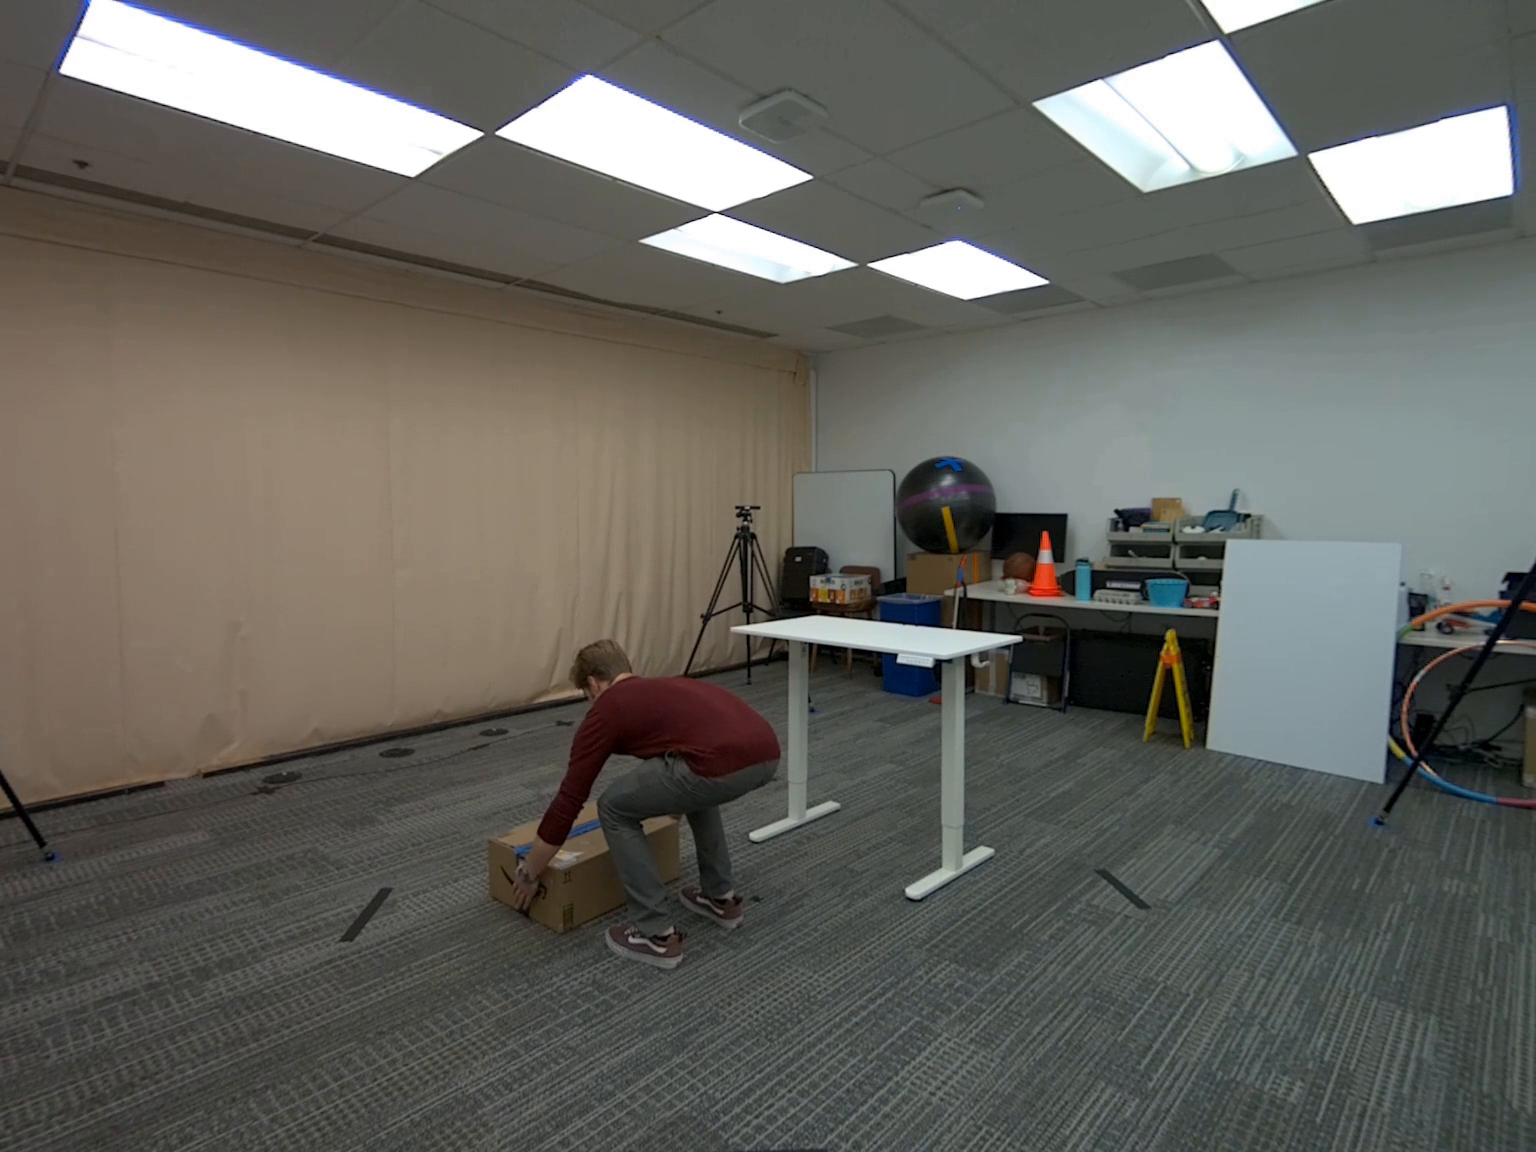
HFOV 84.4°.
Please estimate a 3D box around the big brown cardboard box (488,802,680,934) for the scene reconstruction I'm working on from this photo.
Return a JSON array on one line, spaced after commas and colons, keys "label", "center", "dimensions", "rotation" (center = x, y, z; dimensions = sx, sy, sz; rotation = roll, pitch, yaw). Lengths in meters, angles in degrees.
[{"label": "big brown cardboard box", "center": [-0.665, 1.030, 3.076], "dimensions": [0.431, 0.232, 0.571], "rotation": [3, 5, 39]}]
